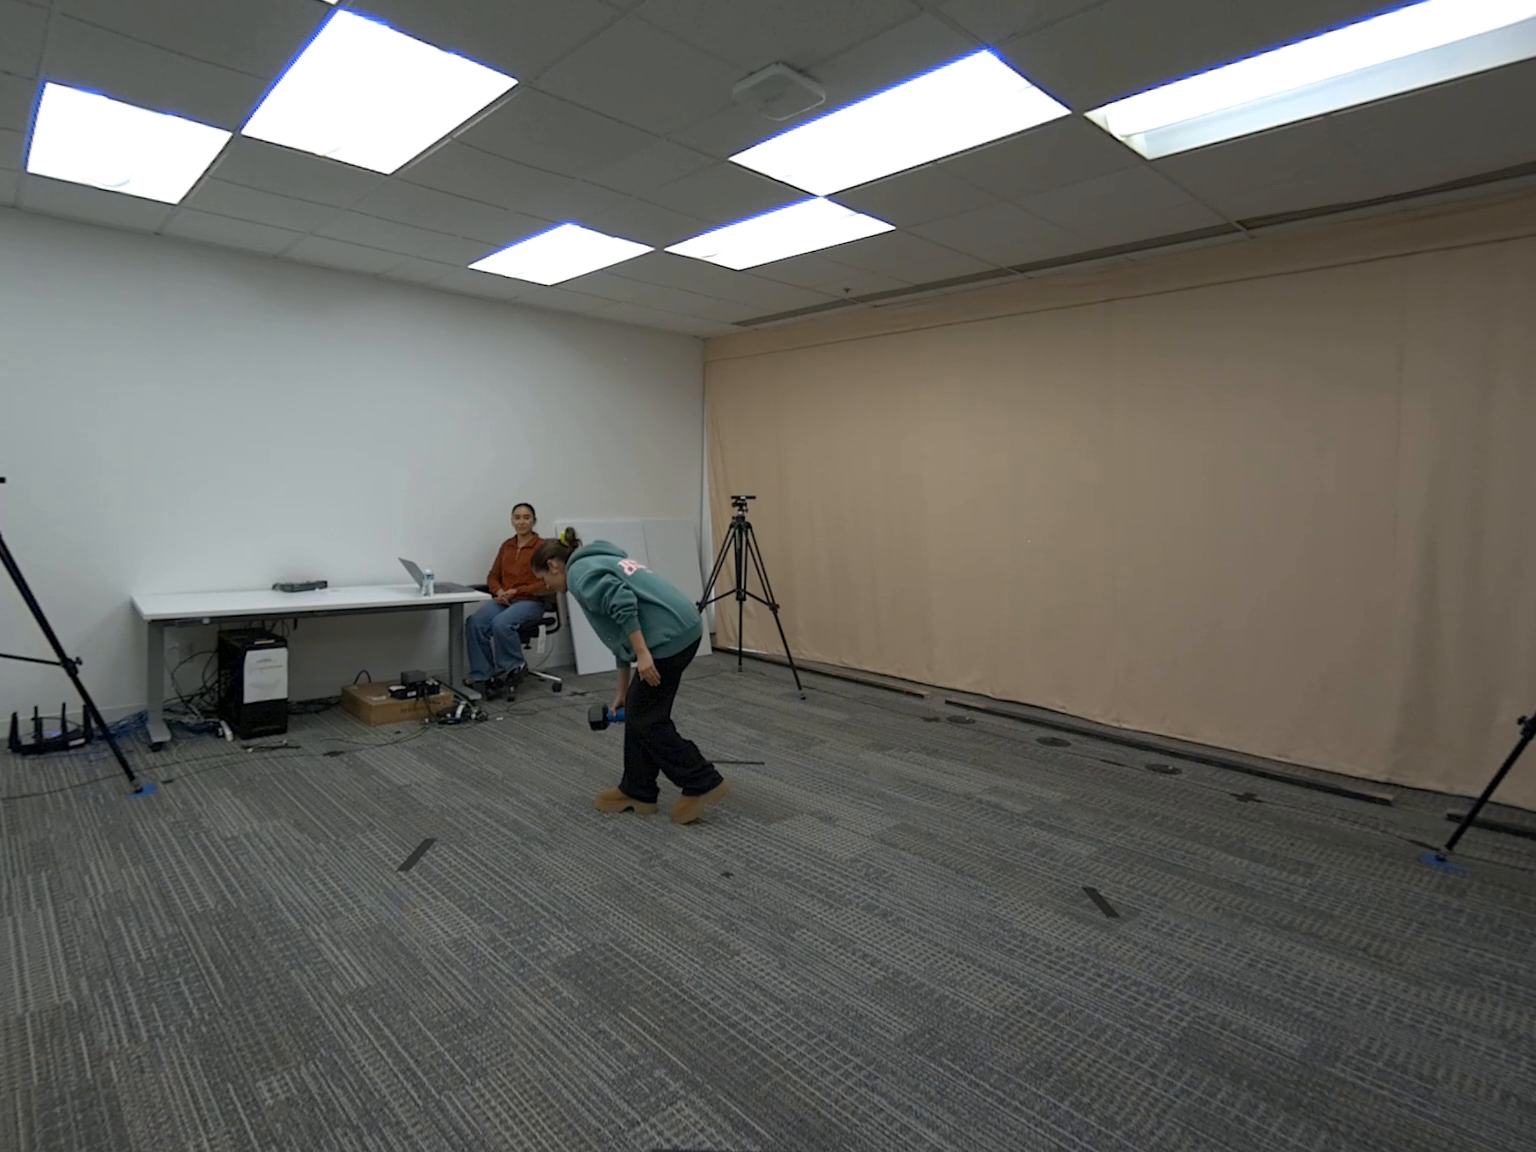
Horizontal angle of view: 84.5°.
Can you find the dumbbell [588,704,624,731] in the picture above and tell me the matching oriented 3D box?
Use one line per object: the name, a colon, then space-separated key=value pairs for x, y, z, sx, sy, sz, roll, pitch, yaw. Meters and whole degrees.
dumbbell: x=-0.685 y=0.633 z=3.862 sx=0.294 sy=0.125 sz=0.106 roll=-4 pitch=-26 yaw=4
